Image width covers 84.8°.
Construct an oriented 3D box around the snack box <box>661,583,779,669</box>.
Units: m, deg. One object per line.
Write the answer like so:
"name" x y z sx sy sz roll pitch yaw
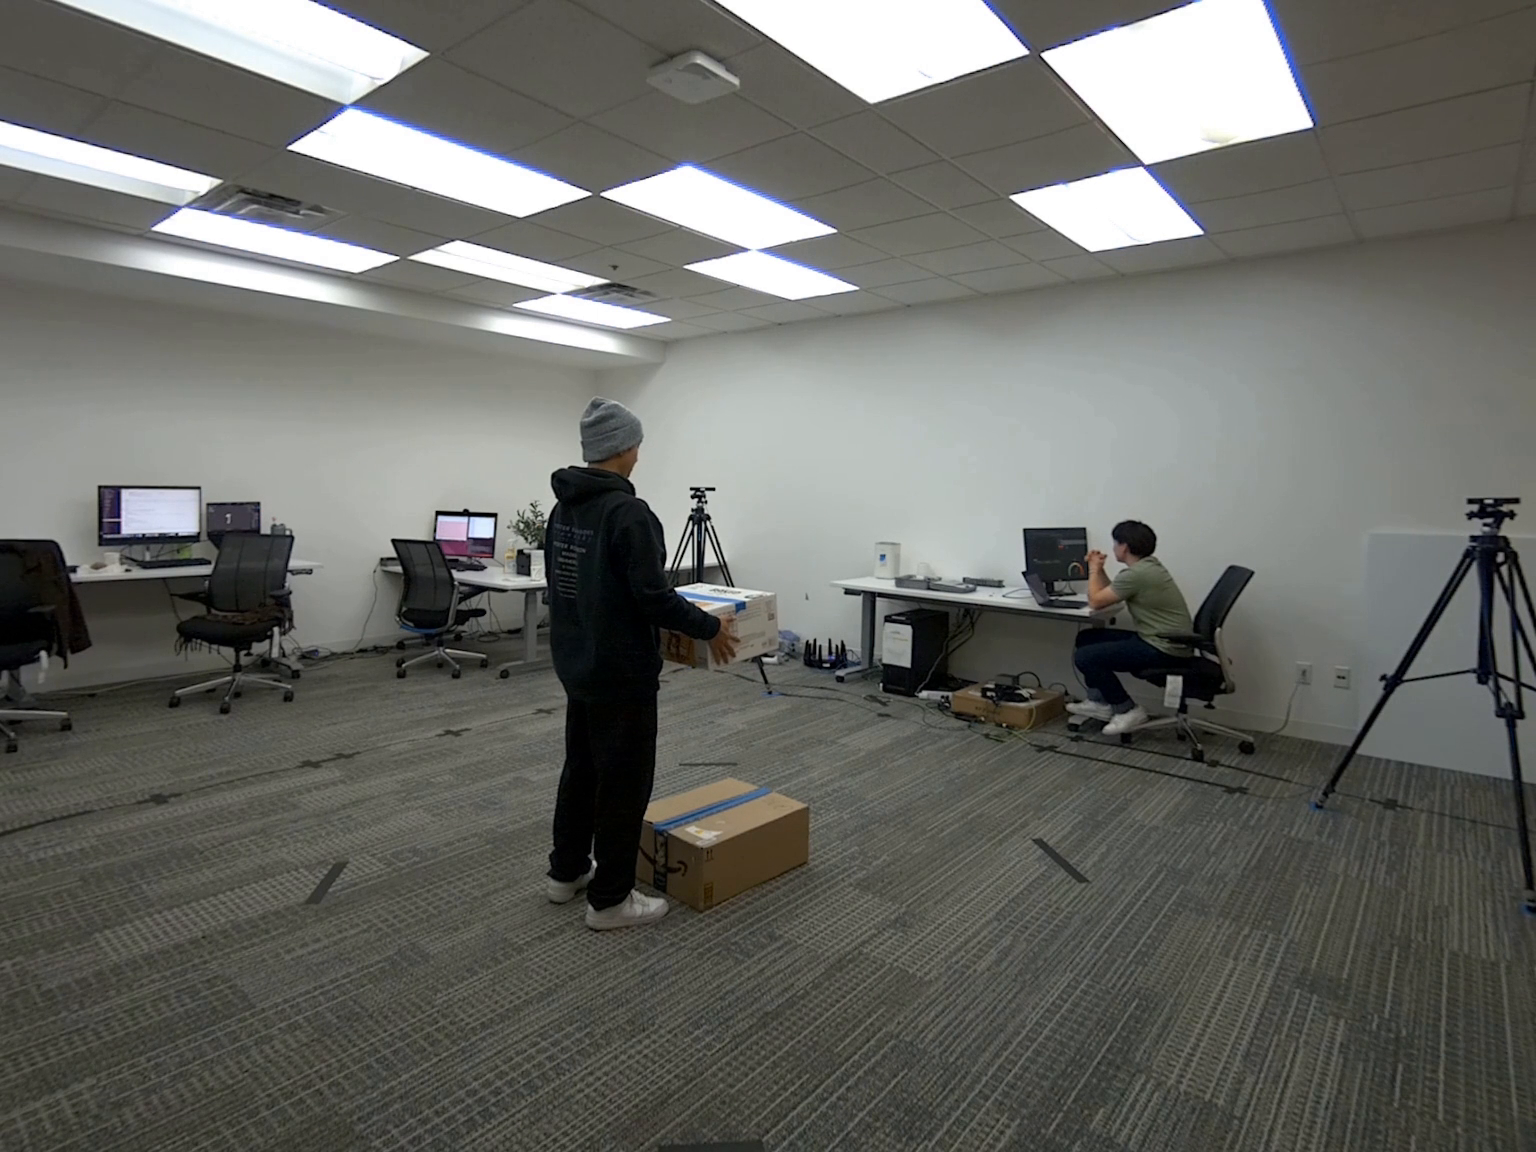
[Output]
"snack box" -0.236 0.169 3.024 0.419 0.204 0.332 6 14 45
